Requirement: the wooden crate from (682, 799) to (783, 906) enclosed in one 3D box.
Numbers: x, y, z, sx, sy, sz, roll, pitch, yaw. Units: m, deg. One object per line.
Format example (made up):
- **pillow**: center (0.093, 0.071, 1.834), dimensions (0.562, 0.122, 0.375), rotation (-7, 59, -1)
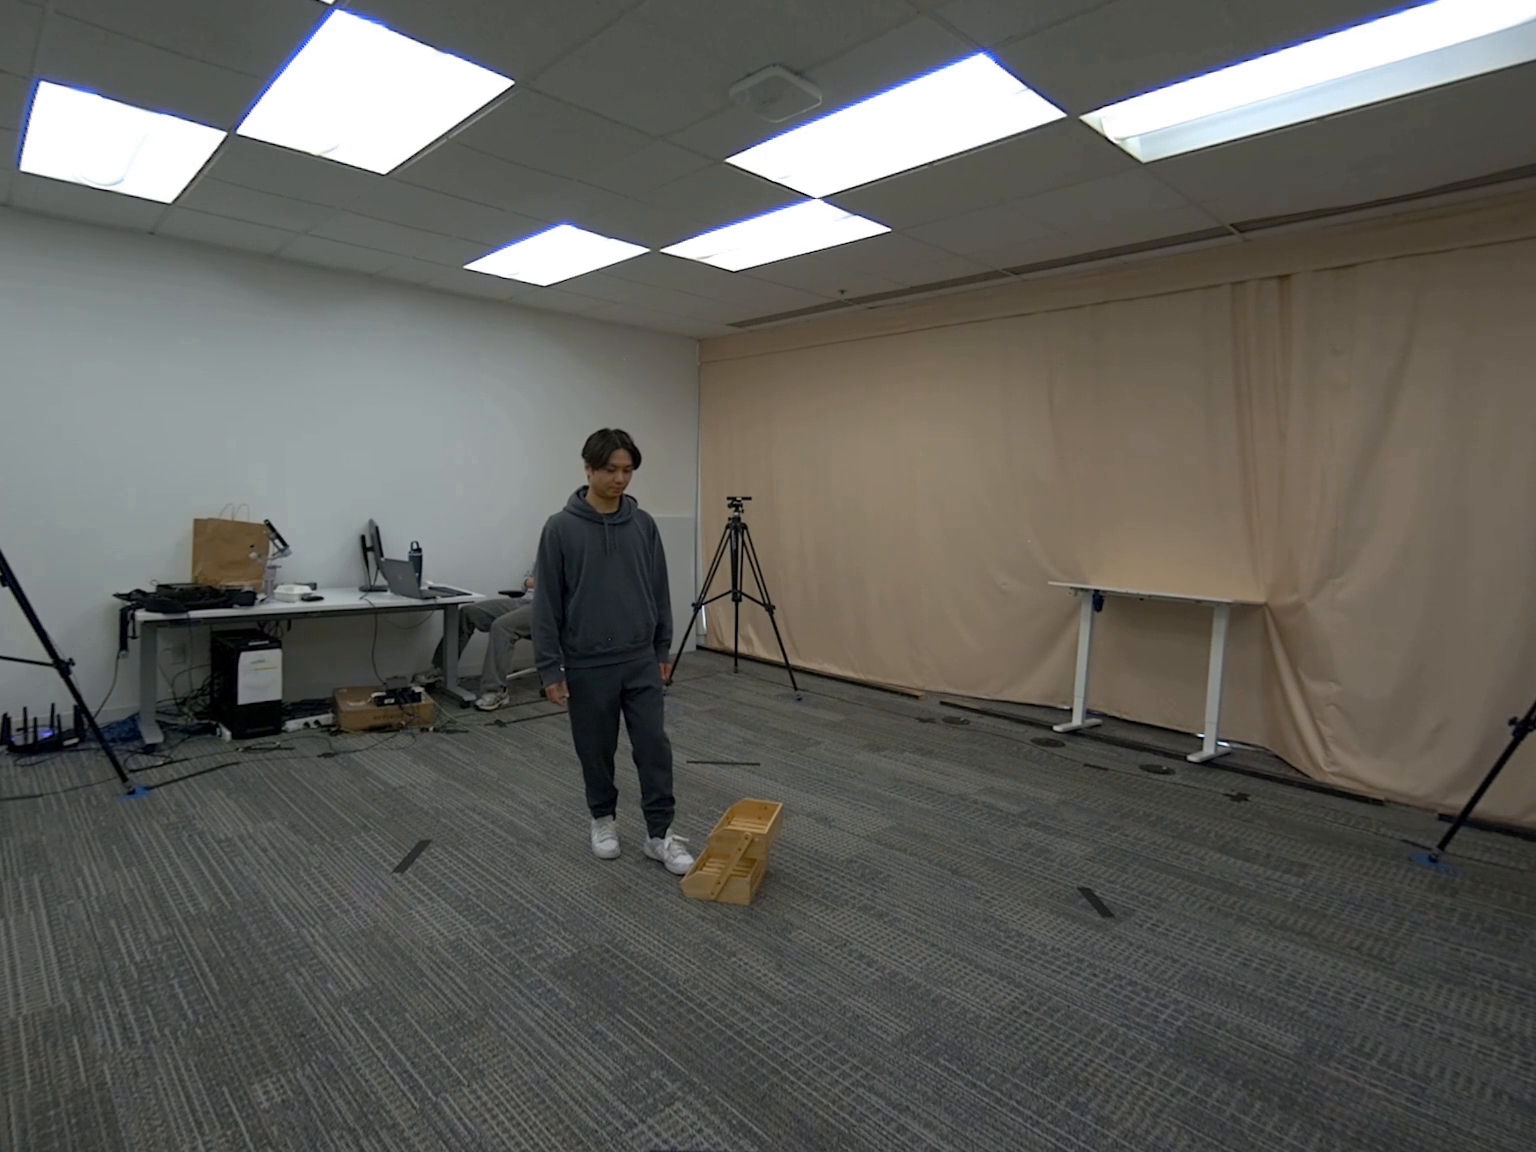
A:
- **wooden crate**: center (-0.137, 0.980, 3.035), dimensions (0.305, 0.272, 0.322), rotation (3, 4, 13)
